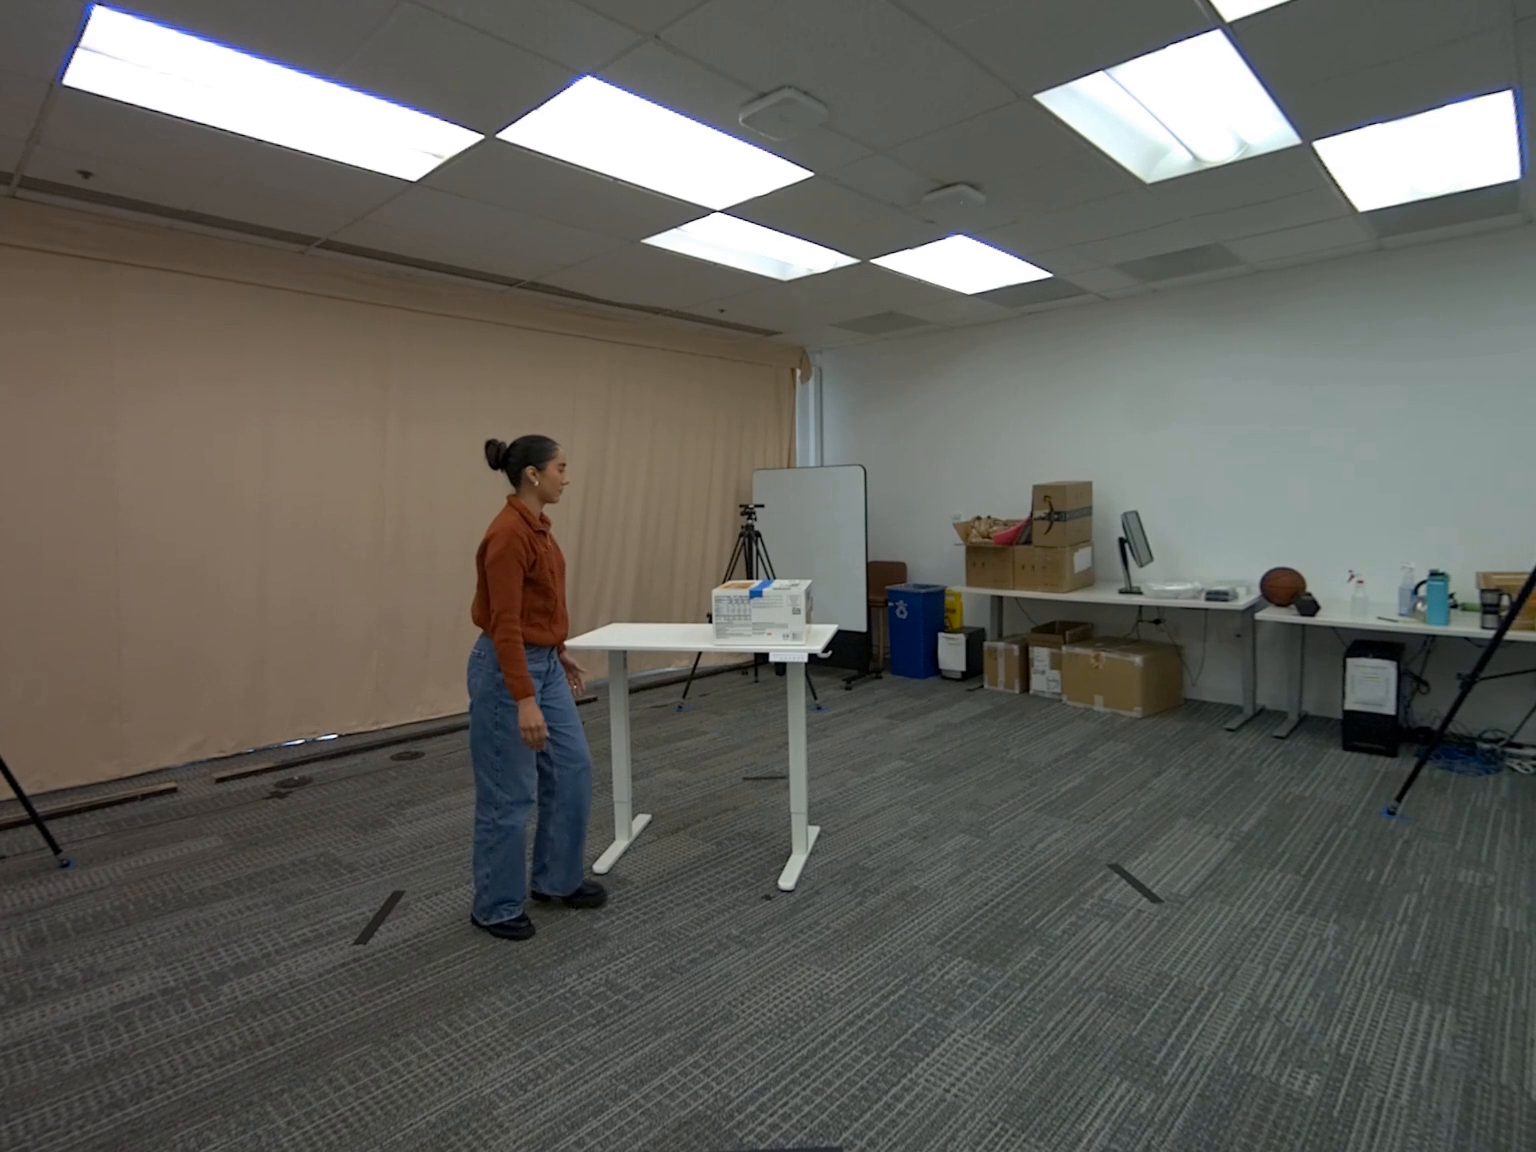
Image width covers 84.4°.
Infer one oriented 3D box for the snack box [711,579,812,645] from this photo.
[{"bbox_3d":[-0.008,0.135,3.232,0.344,0.205,0.402,-1,4,8],"label":"snack box"}]
